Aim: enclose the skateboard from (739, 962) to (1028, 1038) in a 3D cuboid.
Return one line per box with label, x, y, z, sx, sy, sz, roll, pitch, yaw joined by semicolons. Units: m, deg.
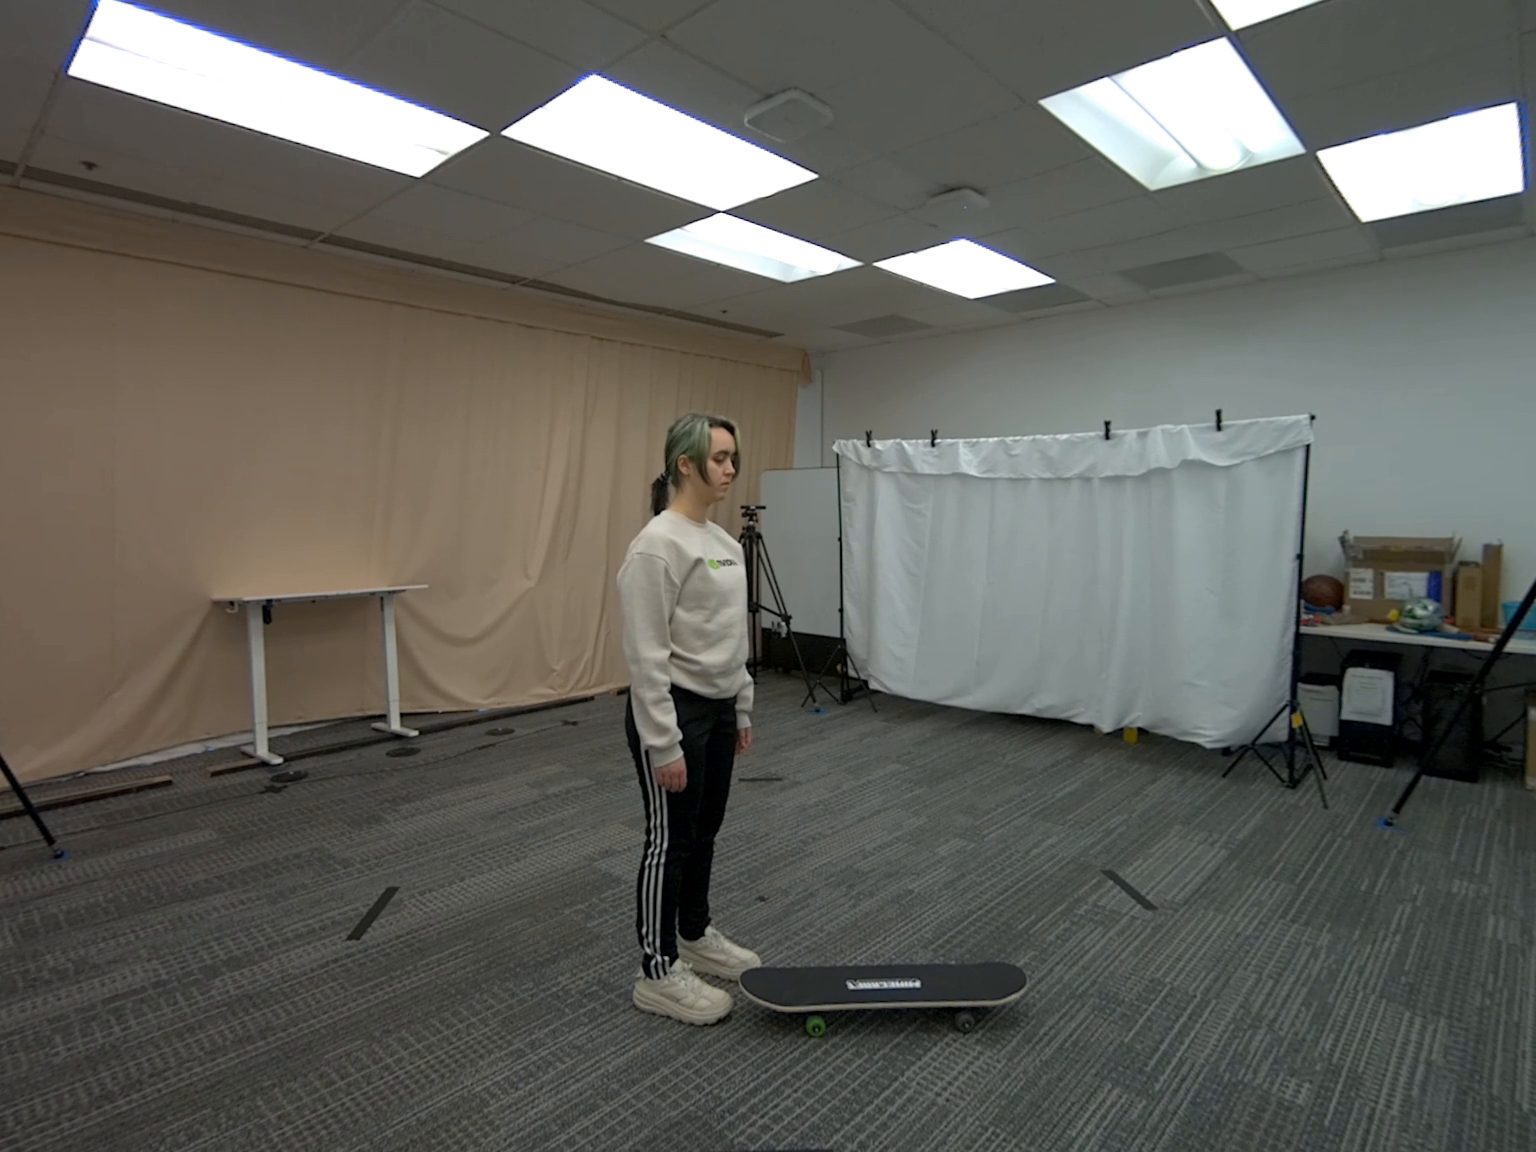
skateboard;0.317;1.141;2.298;0.783;0.110;0.194;-1;4;-3
